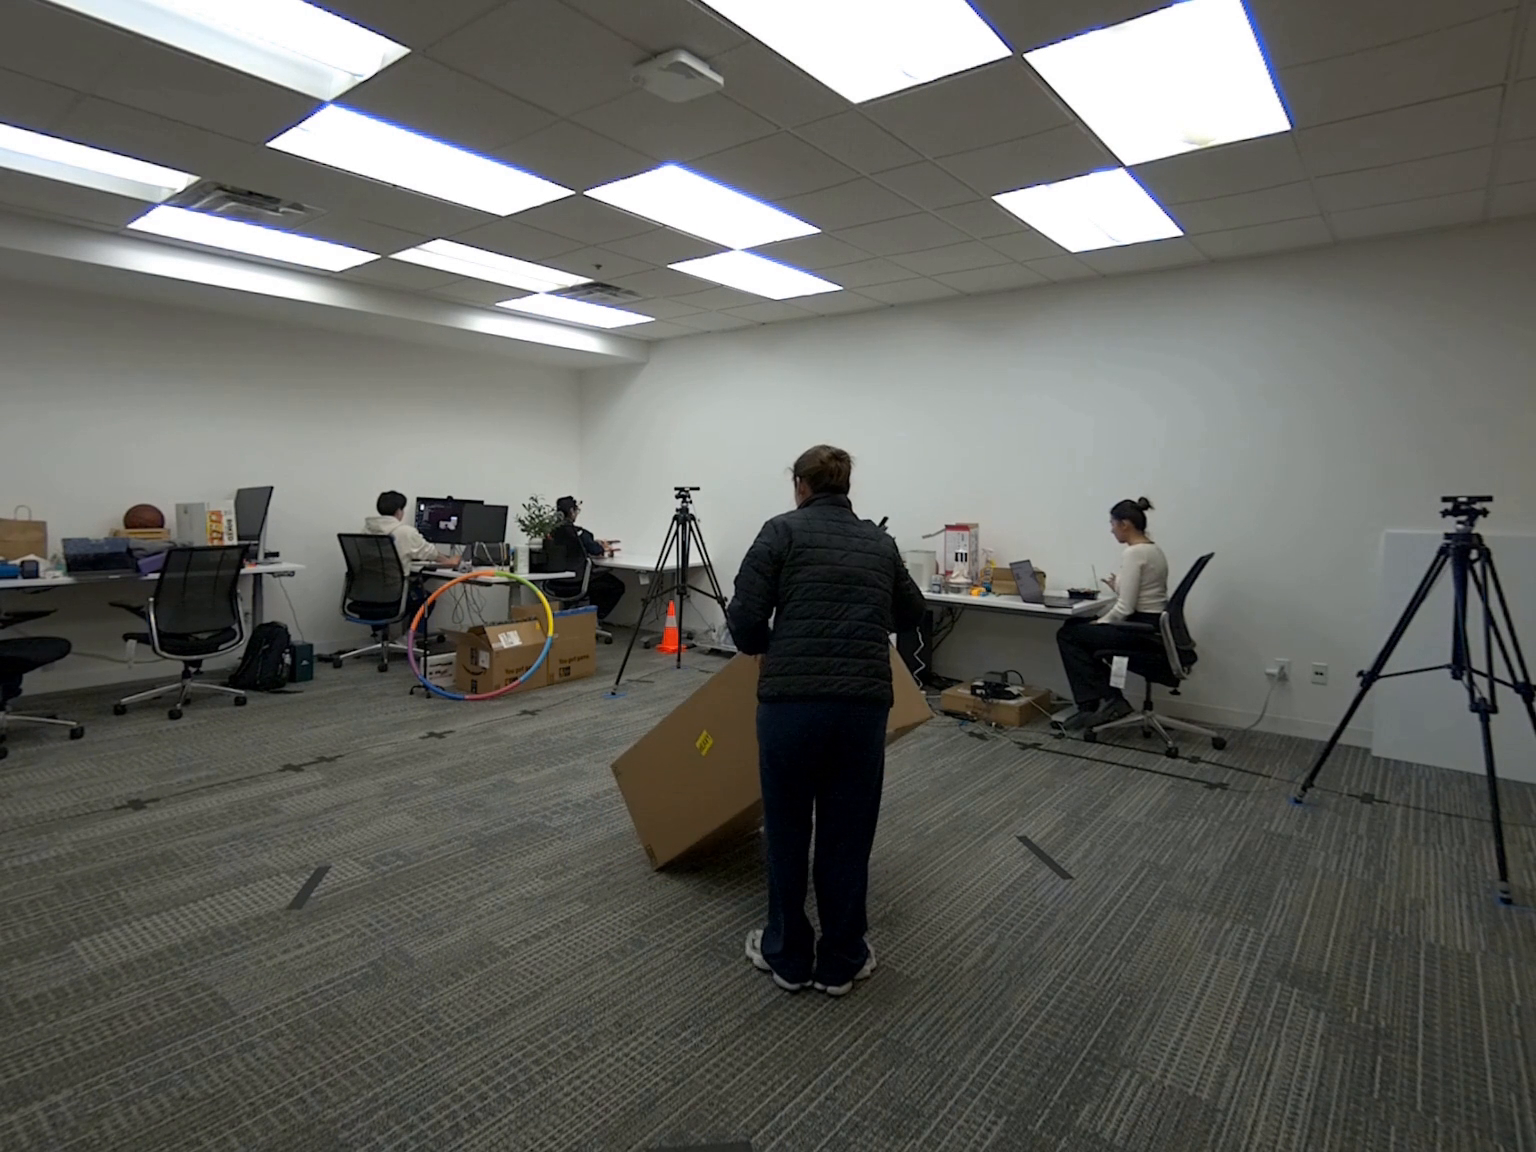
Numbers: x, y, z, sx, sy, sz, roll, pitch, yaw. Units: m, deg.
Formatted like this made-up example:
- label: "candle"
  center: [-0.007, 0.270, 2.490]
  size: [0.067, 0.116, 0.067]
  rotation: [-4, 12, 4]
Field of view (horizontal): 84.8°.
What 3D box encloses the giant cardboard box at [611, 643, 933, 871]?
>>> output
- label: "giant cardboard box"
  center: [-0.011, 0.595, 3.071]
  size: [0.560, 0.438, 1.028]
  rotation: [-5, -30, -46]
